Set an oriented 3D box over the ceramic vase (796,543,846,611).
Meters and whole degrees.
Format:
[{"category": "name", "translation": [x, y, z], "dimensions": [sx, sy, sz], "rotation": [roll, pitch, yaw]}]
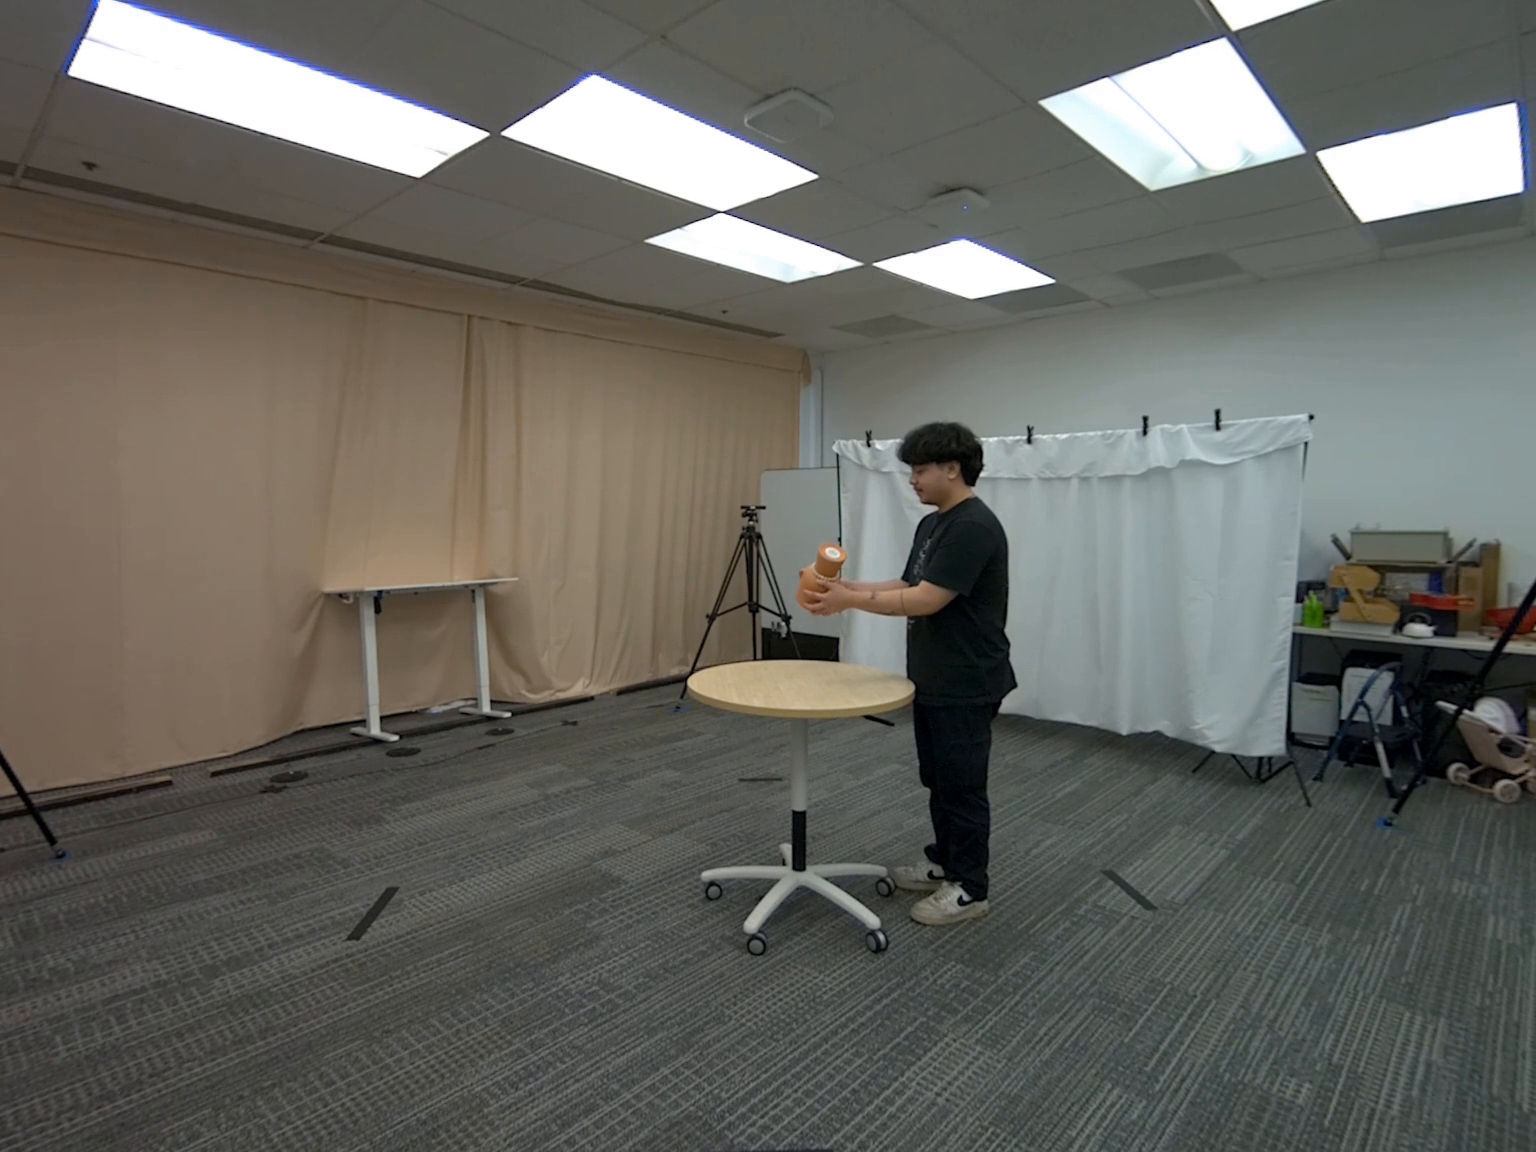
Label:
[{"category": "ceramic vase", "translation": [0.196, 0.001, 2.857], "dimensions": [0.159, 0.218, 0.135], "rotation": [19, 39, 2]}]
